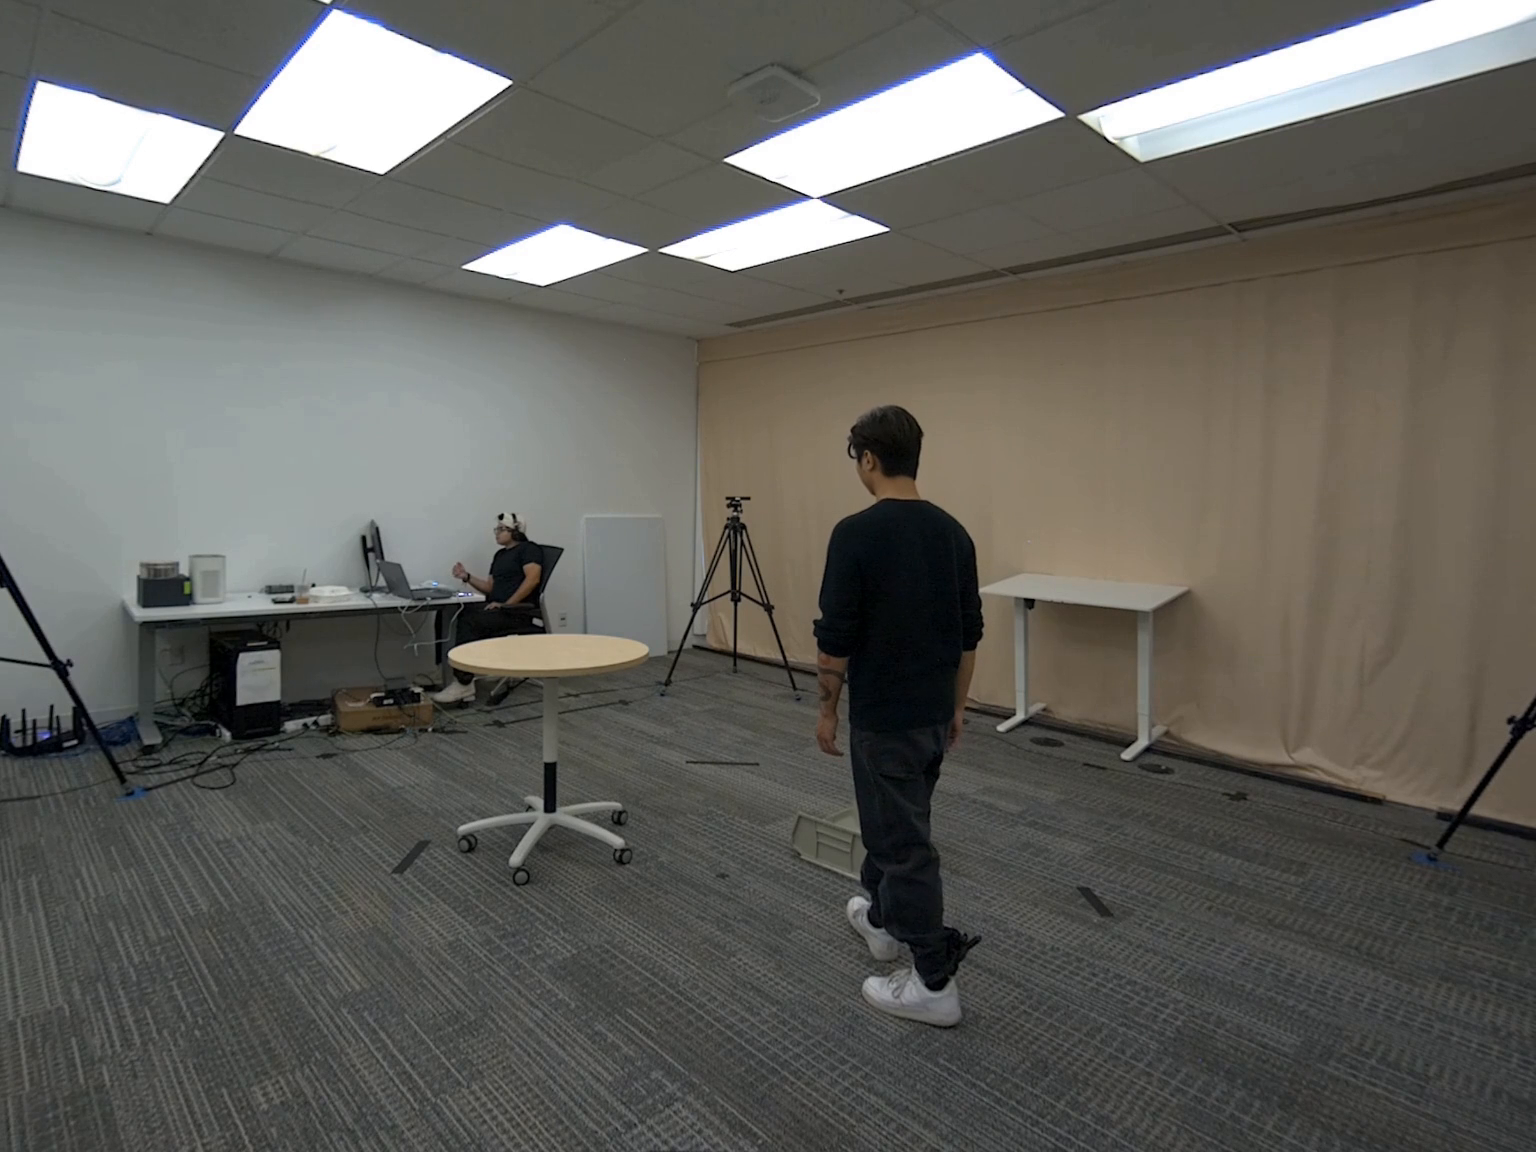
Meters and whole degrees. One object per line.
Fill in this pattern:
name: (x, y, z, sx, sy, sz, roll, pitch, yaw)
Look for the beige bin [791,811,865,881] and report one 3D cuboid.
beige bin: (0.359, 1.009, 3.322, 0.387, 0.188, 0.413, 6, 6, 41)
